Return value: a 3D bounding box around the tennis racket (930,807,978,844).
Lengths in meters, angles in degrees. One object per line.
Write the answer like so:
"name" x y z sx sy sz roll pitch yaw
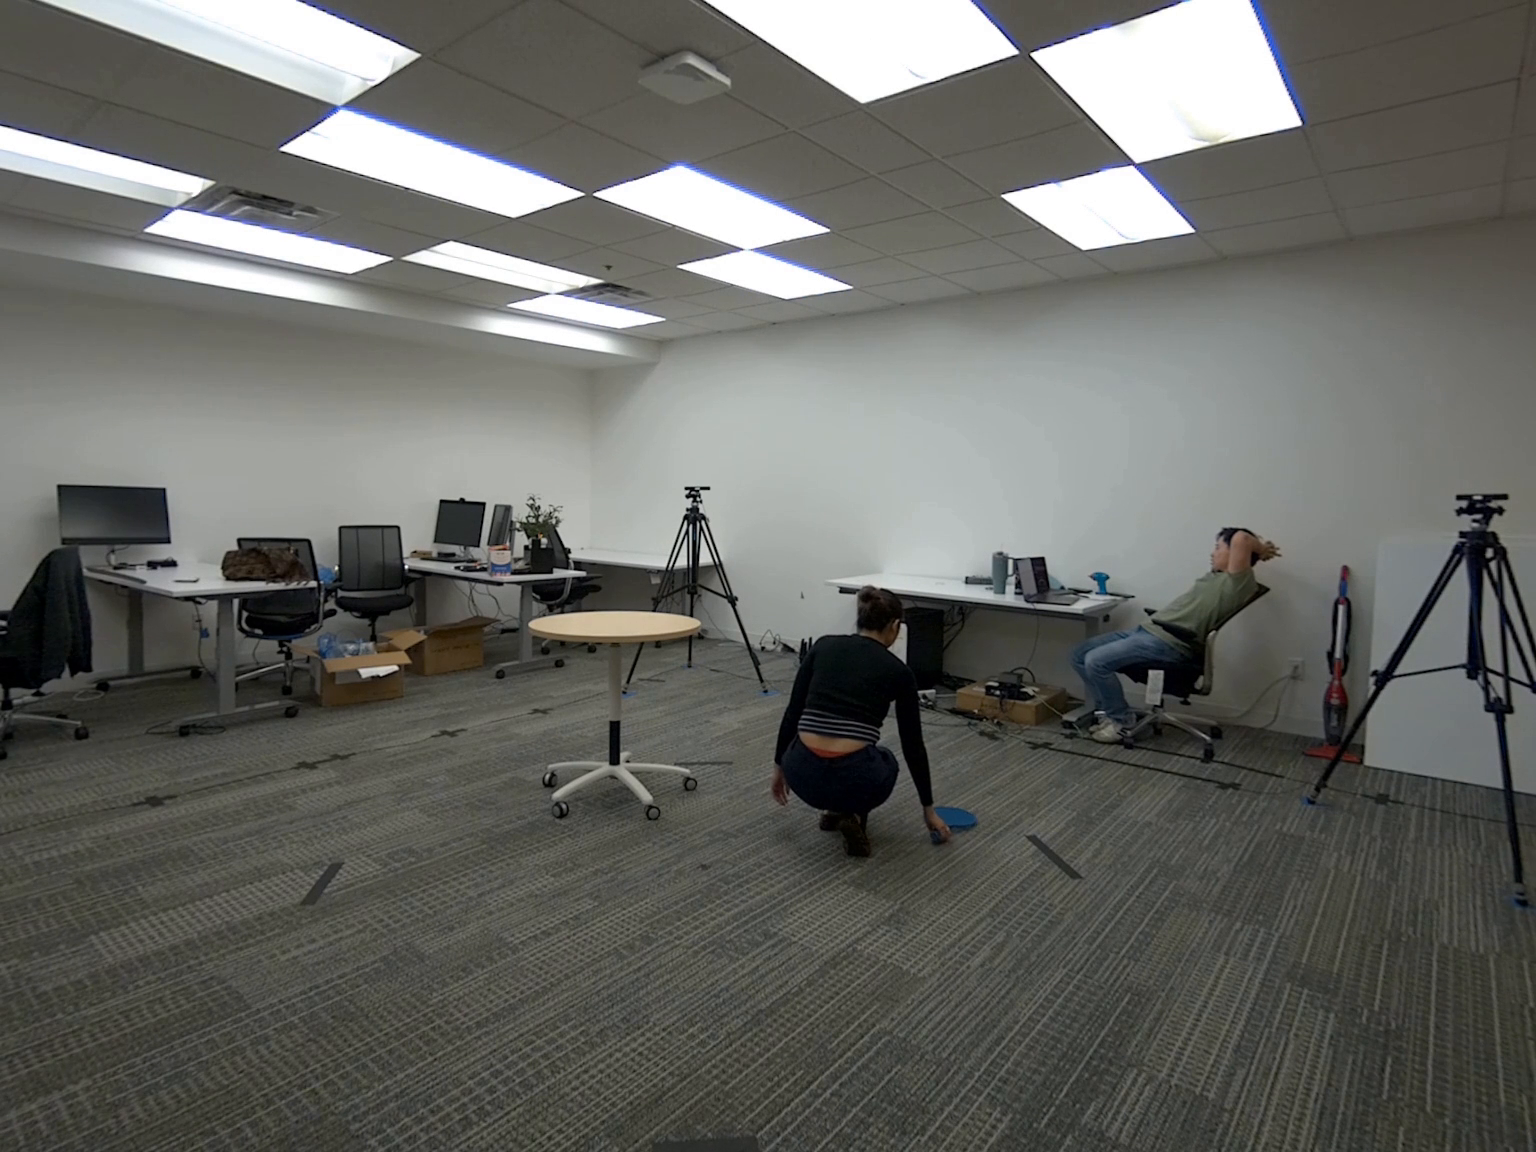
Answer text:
"tennis racket" 0.735 1.022 3.541 0.219 0.031 0.422 6 5 24
